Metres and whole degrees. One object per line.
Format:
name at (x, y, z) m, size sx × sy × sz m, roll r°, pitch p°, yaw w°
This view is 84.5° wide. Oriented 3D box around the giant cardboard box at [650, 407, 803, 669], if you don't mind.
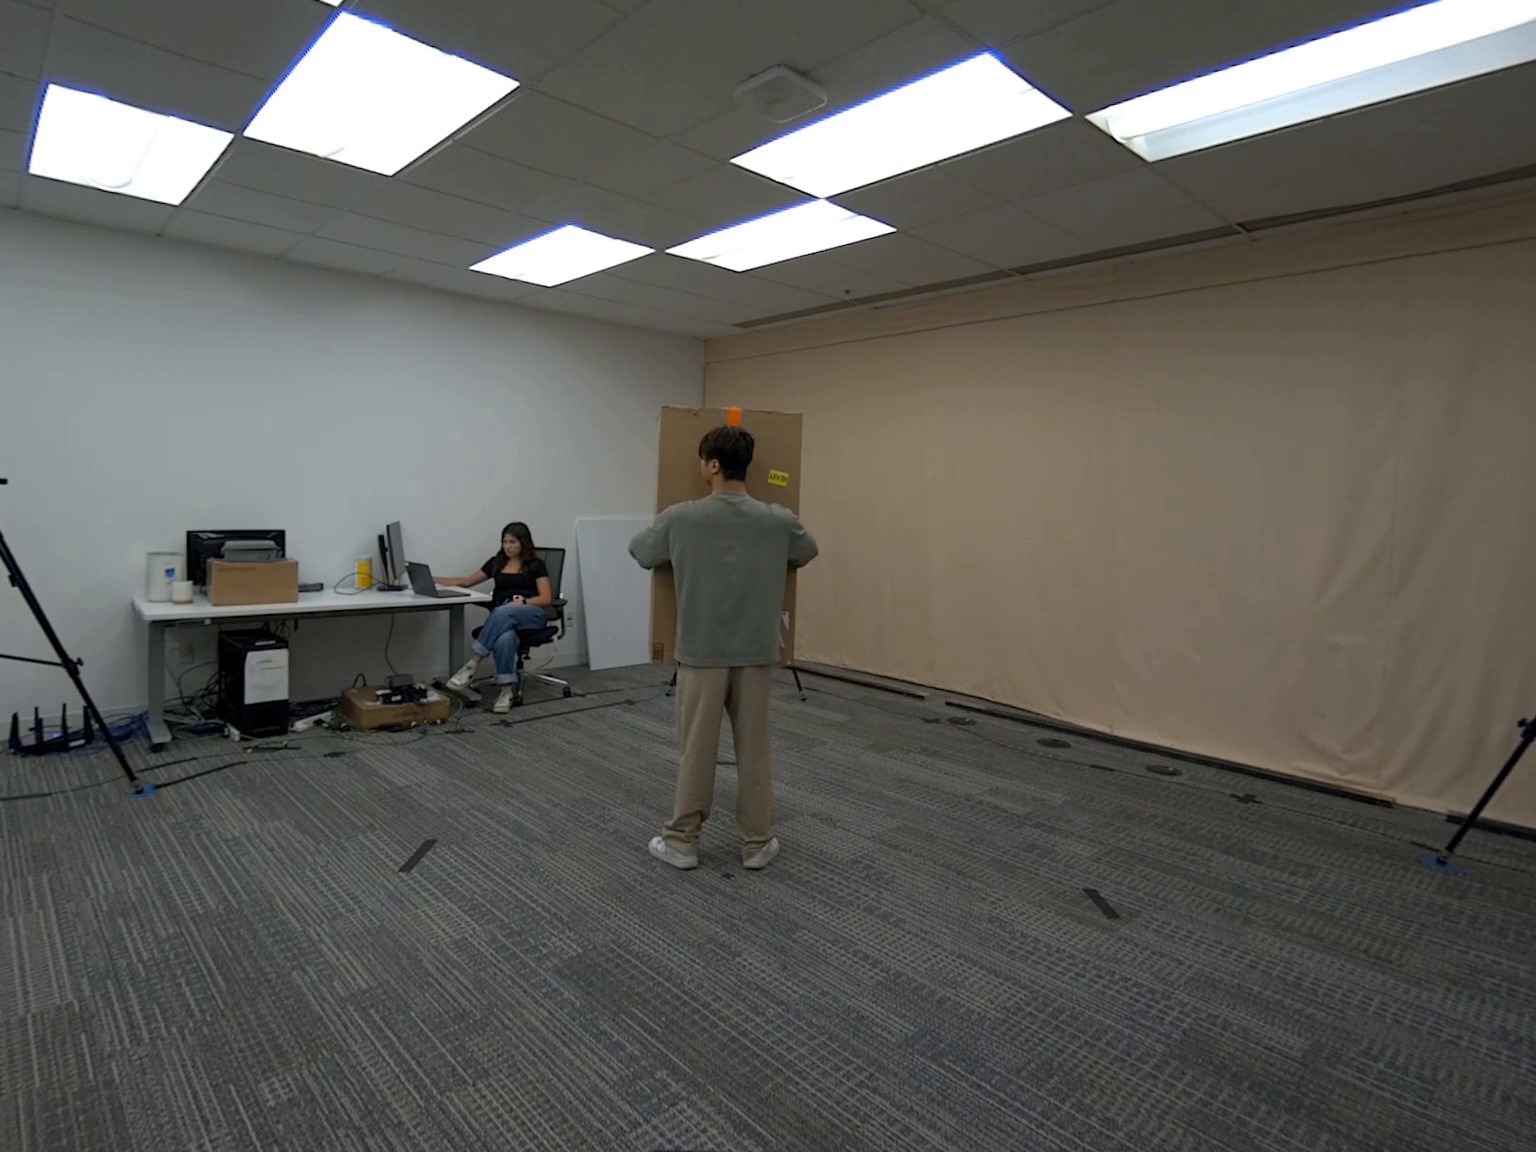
giant cardboard box at (-0.199, -0.168, 3.544) m, size 0.574 × 1.025 × 0.429 m, roll 3°, pitch 1°, yaw -7°
